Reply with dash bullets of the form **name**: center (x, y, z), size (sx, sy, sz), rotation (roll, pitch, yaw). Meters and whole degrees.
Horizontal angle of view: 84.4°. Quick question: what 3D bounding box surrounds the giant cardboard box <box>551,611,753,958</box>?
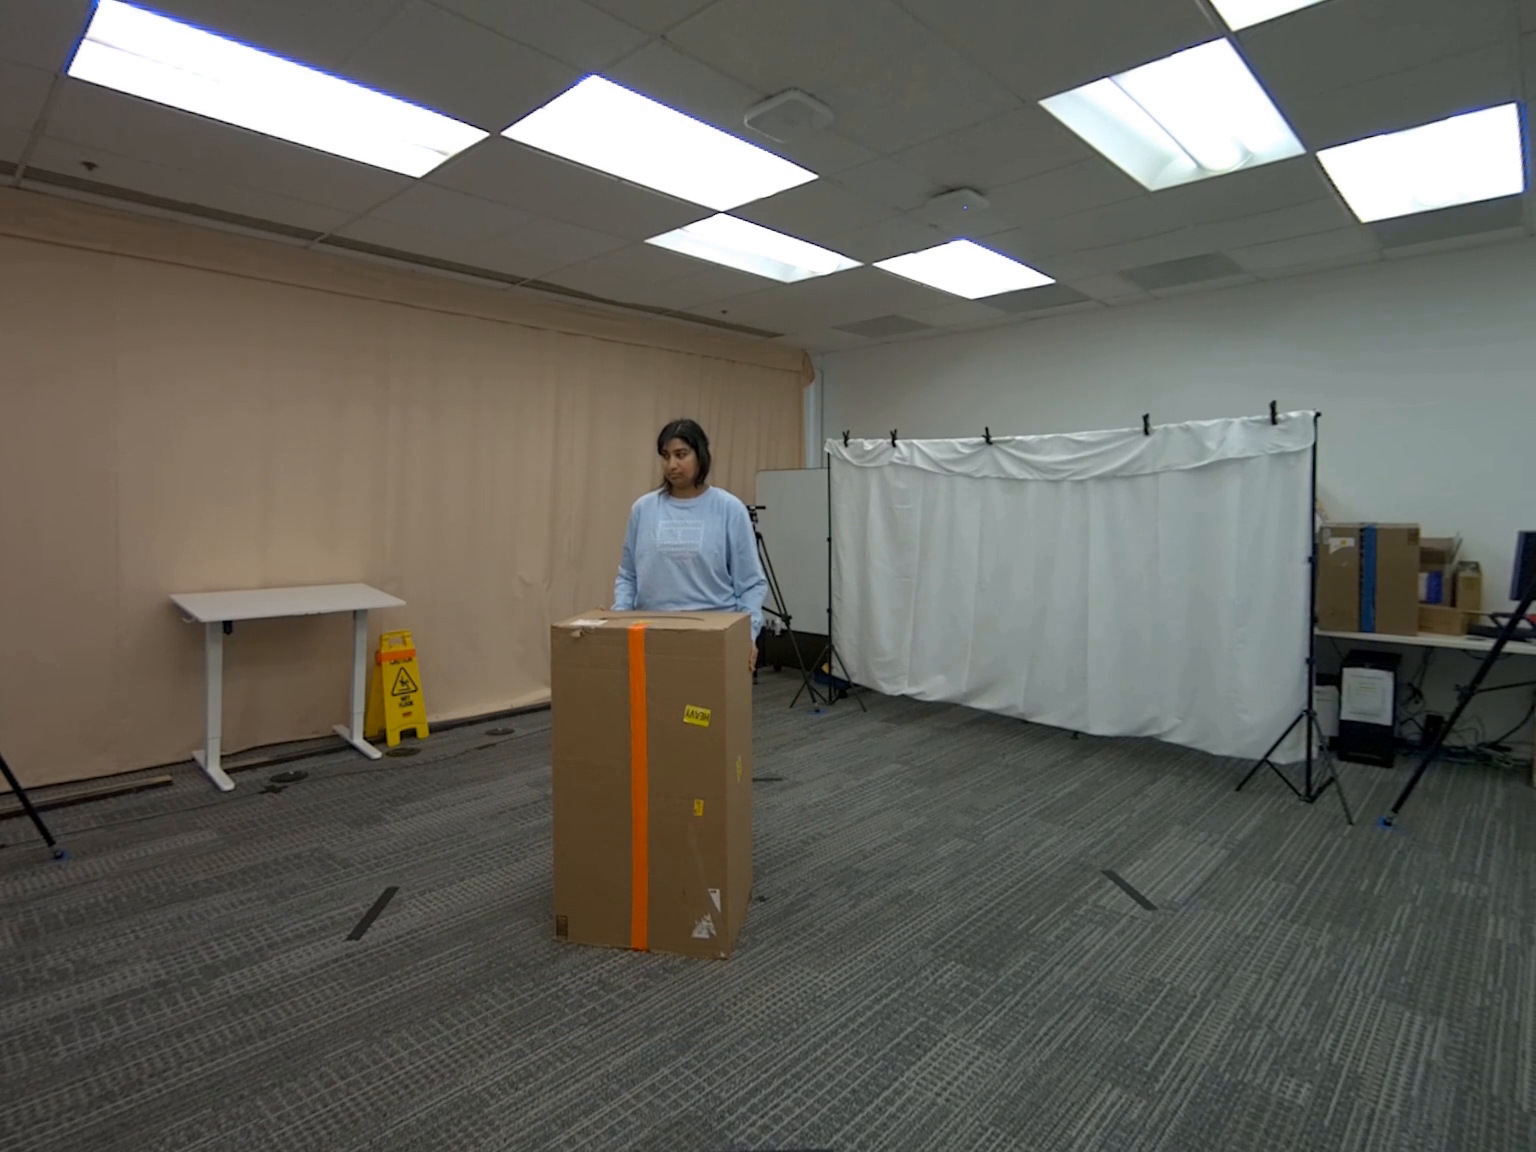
- **giant cardboard box**: center (-0.368, 0.653, 2.822), size (0.585, 1.024, 0.422), rotation (0, 3, 11)
